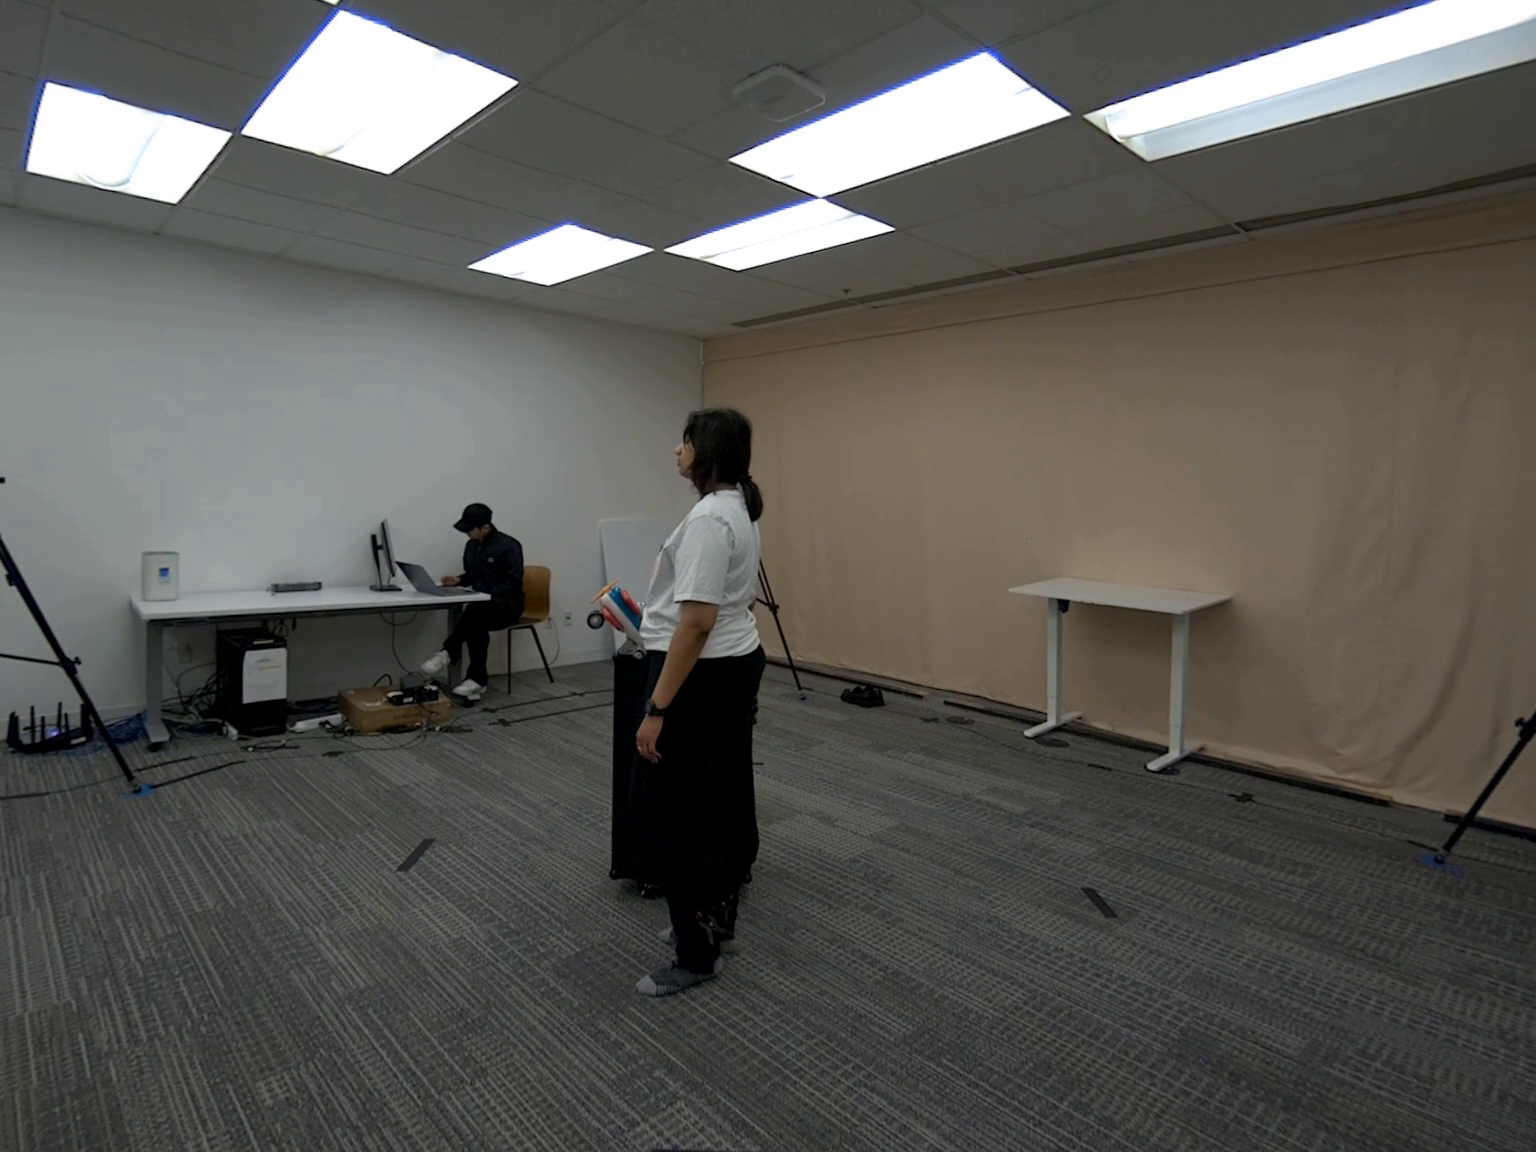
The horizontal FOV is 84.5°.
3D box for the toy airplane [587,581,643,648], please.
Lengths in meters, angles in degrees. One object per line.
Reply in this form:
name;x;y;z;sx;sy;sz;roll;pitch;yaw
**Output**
toy airplane;-0.456;0.146;2.692;0.252;0.156;0.258;40;-7;-32
